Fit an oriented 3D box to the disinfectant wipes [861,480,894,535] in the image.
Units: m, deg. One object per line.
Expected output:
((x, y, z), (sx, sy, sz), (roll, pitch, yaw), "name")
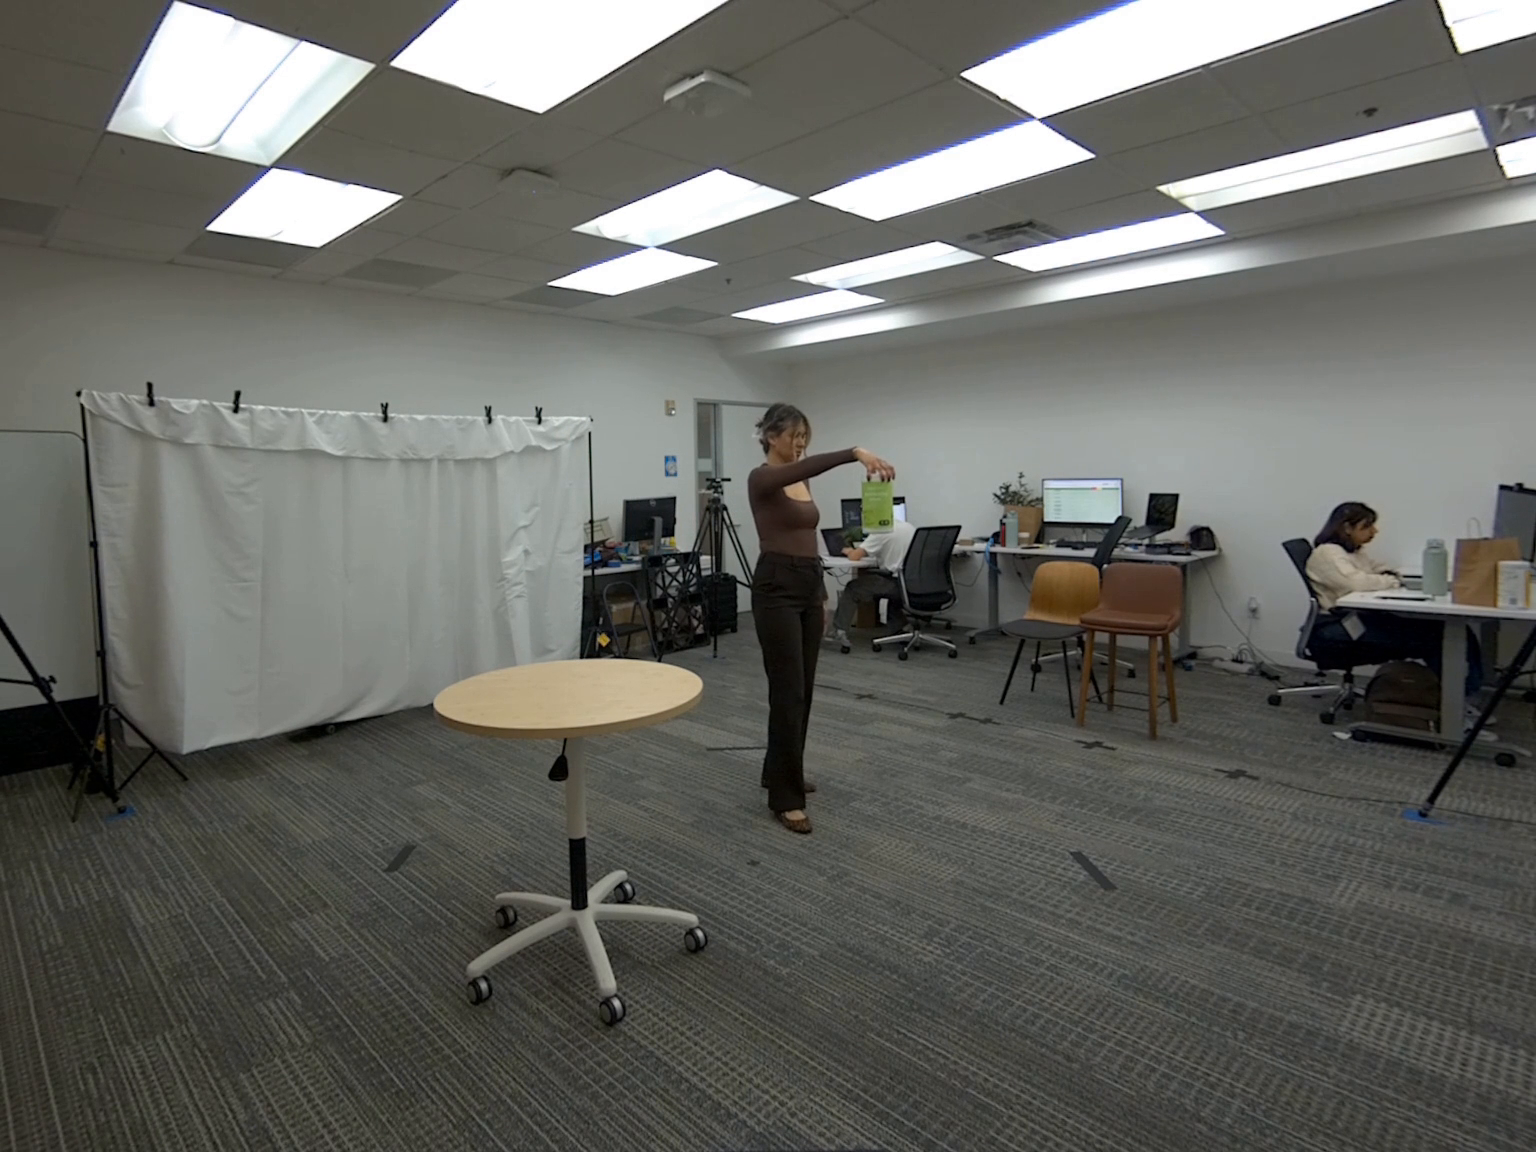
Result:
((0.401, -0.265, 3.089), (0.118, 0.217, 0.118), (-3, 3, -1), "disinfectant wipes")
